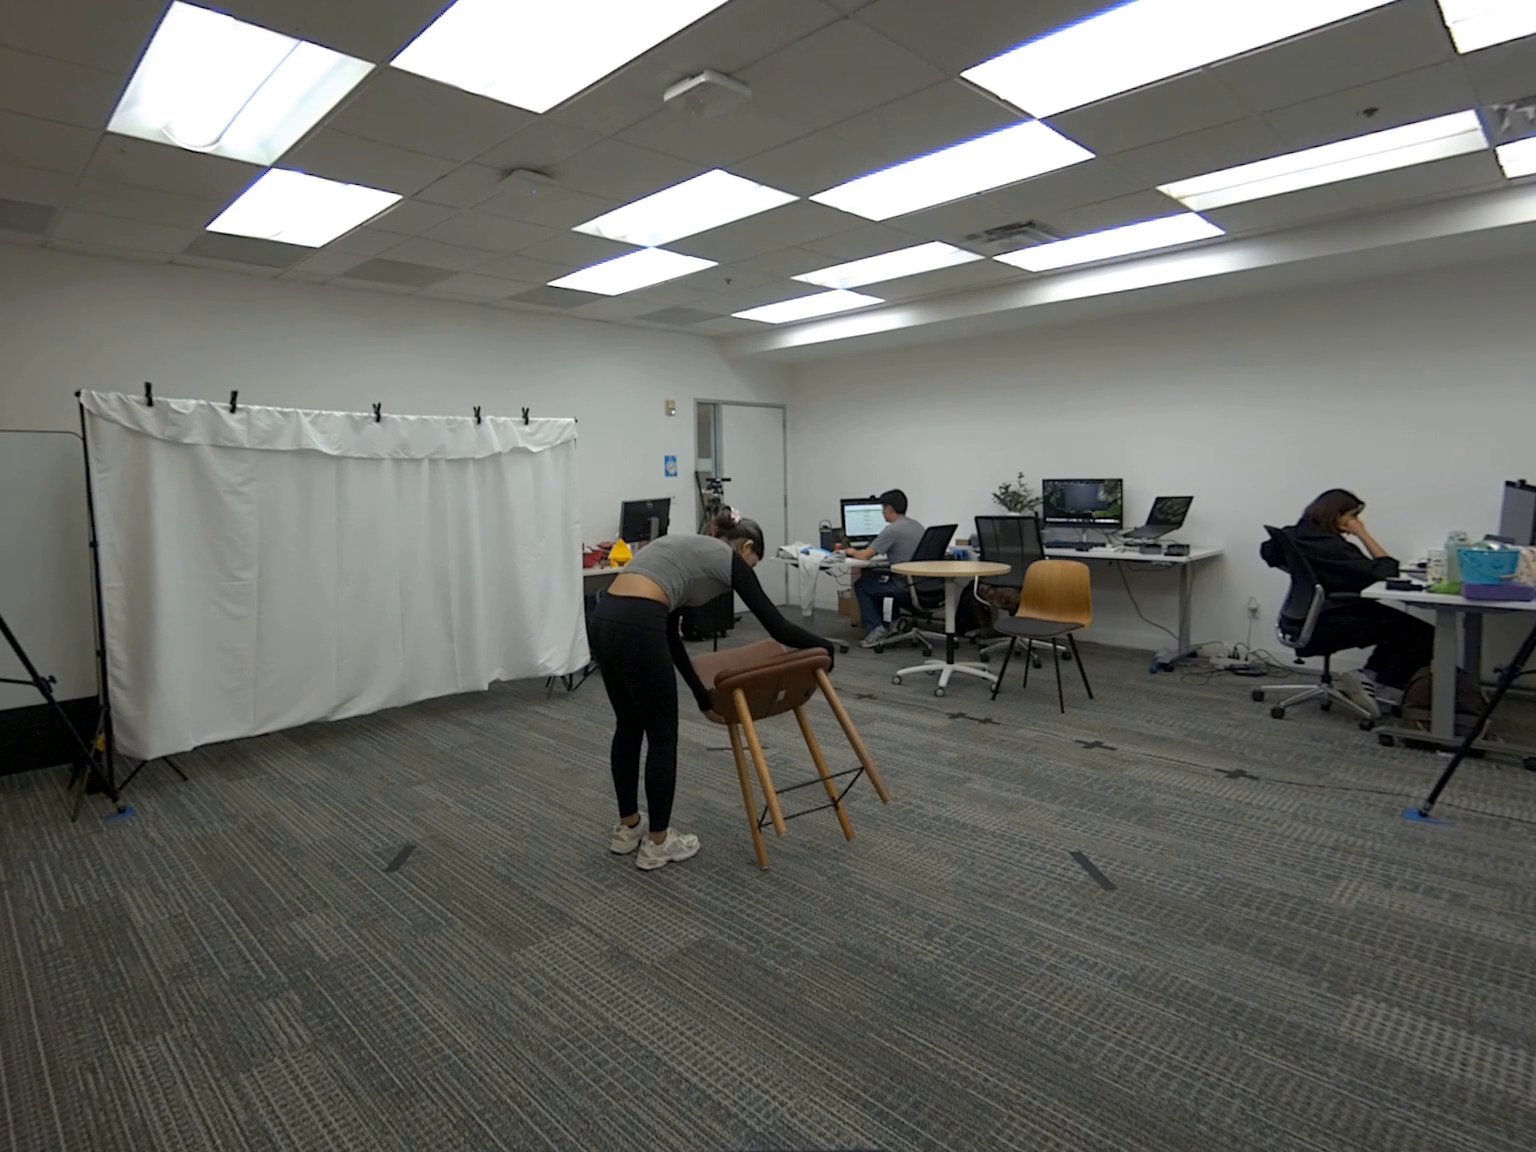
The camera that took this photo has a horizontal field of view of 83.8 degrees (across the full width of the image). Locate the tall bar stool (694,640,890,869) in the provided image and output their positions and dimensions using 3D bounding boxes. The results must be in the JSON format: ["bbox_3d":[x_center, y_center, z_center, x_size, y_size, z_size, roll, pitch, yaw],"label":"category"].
[{"bbox_3d":[0.048,0.549,3.155,0.450,0.919,0.459,-11,-33,-18],"label":"tall bar stool"}]
